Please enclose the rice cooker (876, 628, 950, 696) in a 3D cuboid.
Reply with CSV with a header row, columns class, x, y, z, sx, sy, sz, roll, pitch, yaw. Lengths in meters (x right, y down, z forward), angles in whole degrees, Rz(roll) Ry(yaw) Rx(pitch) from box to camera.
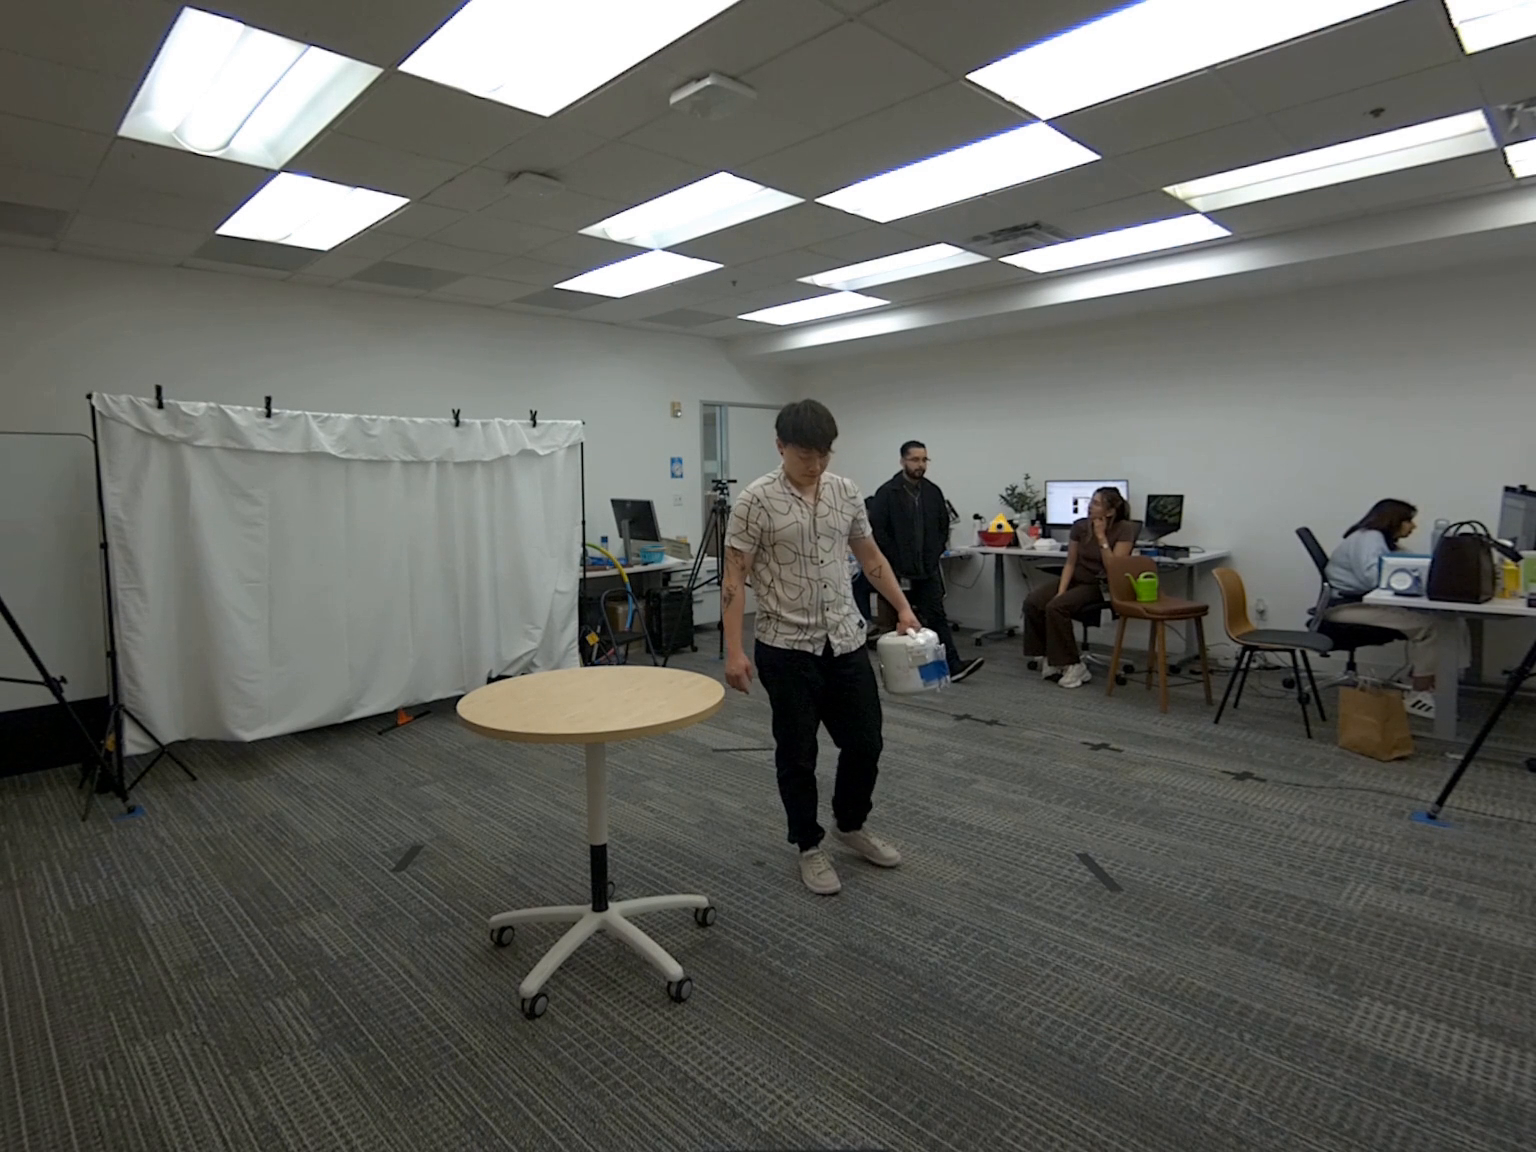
class,x,y,z,sx,sy,sz,roll,pitch,yaw
rice cooker,0.485,0.281,2.951,0.217,0.233,0.221,-9,-1,-5
